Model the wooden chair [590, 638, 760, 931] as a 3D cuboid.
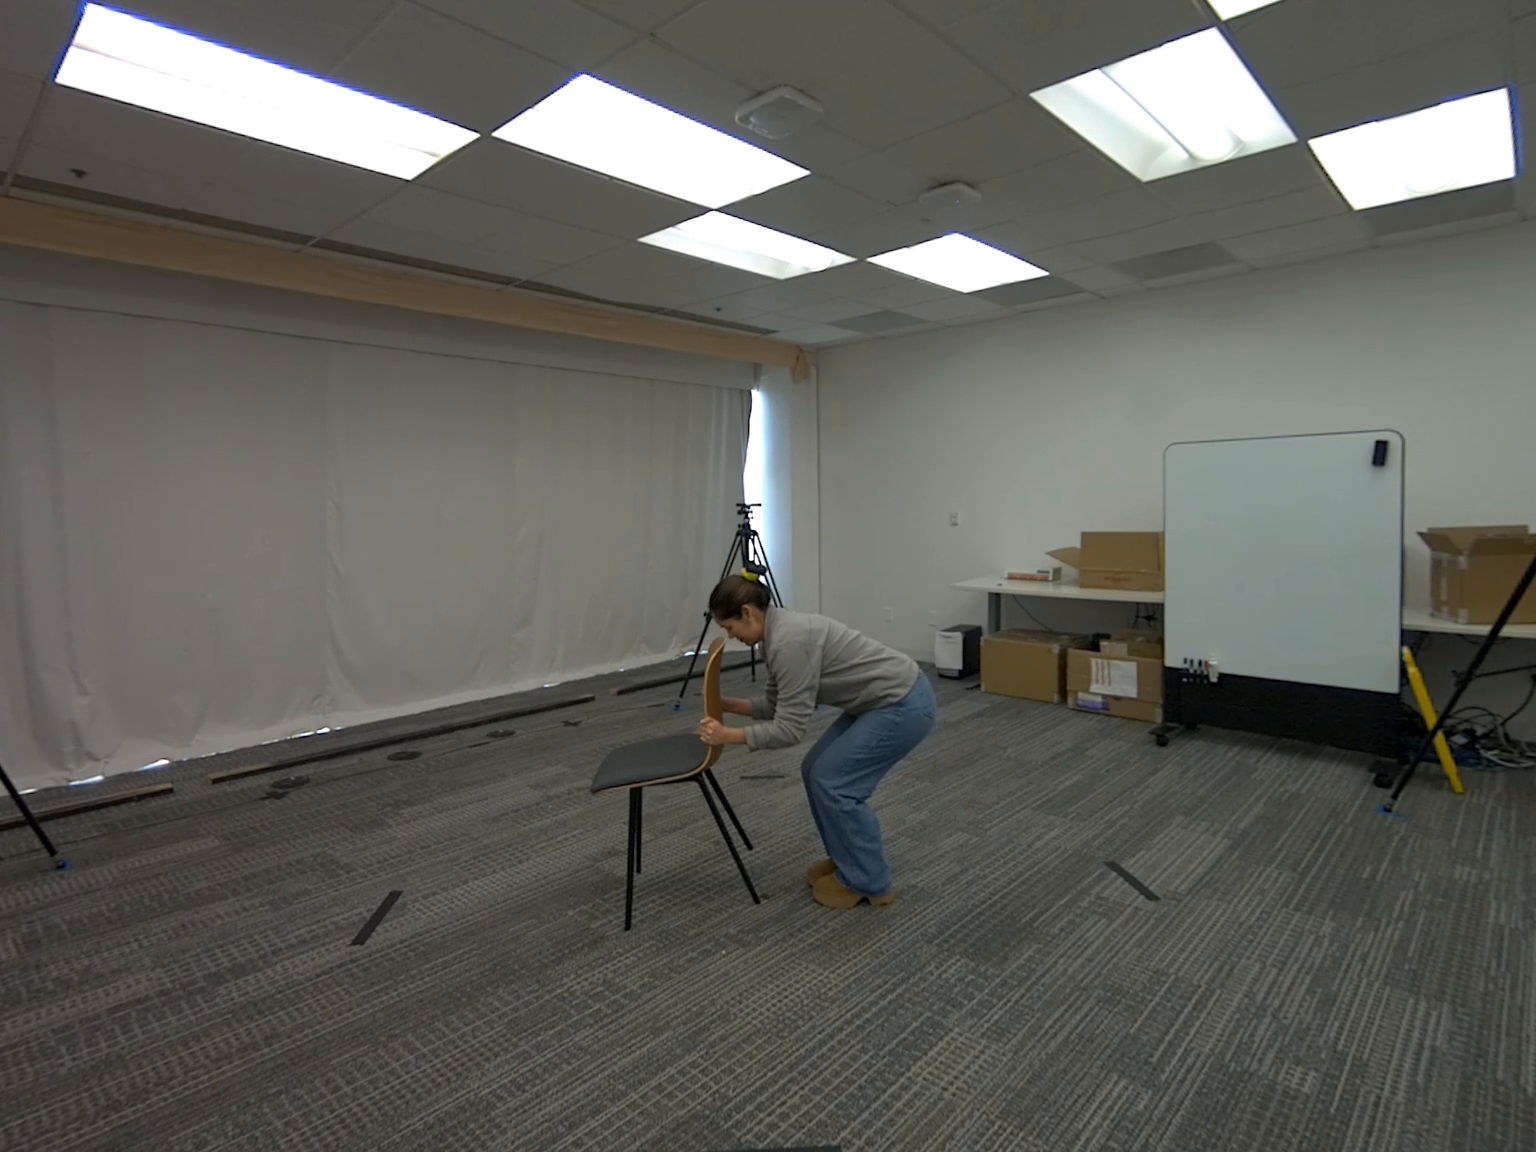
[{"bbox_3d":[-0.346,0.688,2.960,0.522,0.875,0.480,-7,4,-2],"label":"wooden chair"}]
